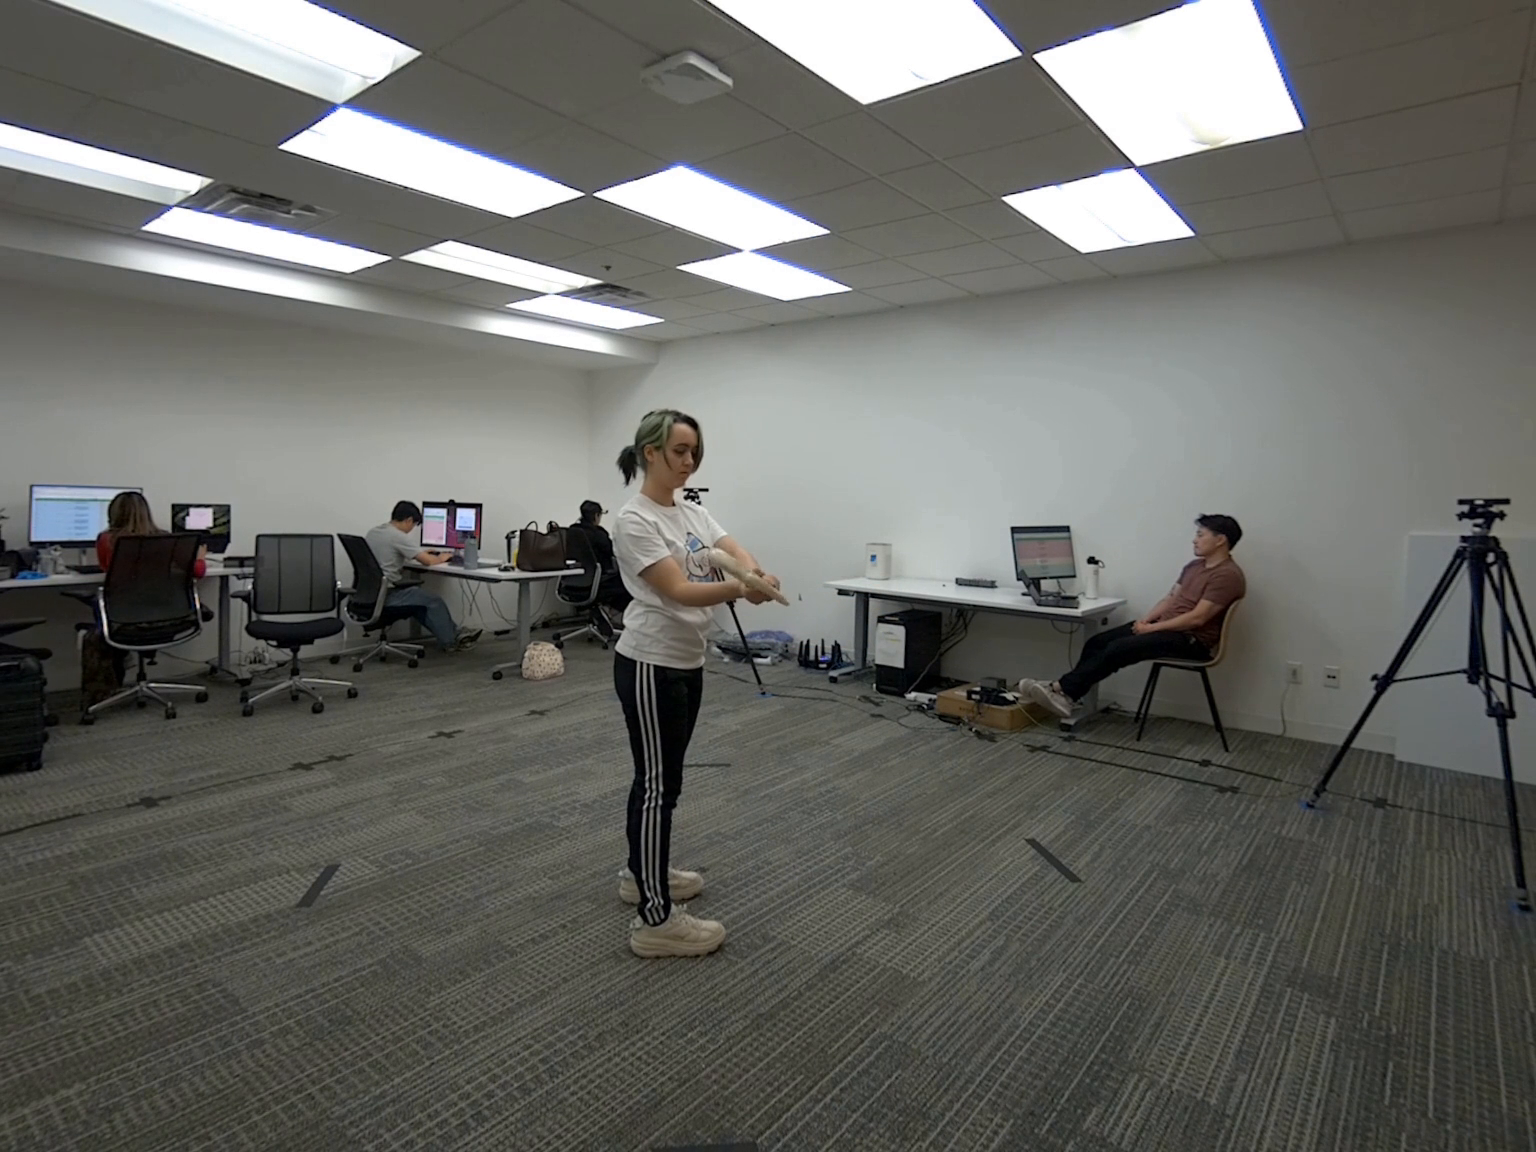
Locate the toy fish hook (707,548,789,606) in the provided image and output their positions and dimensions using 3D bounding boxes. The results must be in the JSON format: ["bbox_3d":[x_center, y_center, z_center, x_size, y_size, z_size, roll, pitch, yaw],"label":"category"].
[{"bbox_3d":[-0.014,0.031,2.215,0.230,0.048,0.494,40,-1,17],"label":"toy fish hook"}]
